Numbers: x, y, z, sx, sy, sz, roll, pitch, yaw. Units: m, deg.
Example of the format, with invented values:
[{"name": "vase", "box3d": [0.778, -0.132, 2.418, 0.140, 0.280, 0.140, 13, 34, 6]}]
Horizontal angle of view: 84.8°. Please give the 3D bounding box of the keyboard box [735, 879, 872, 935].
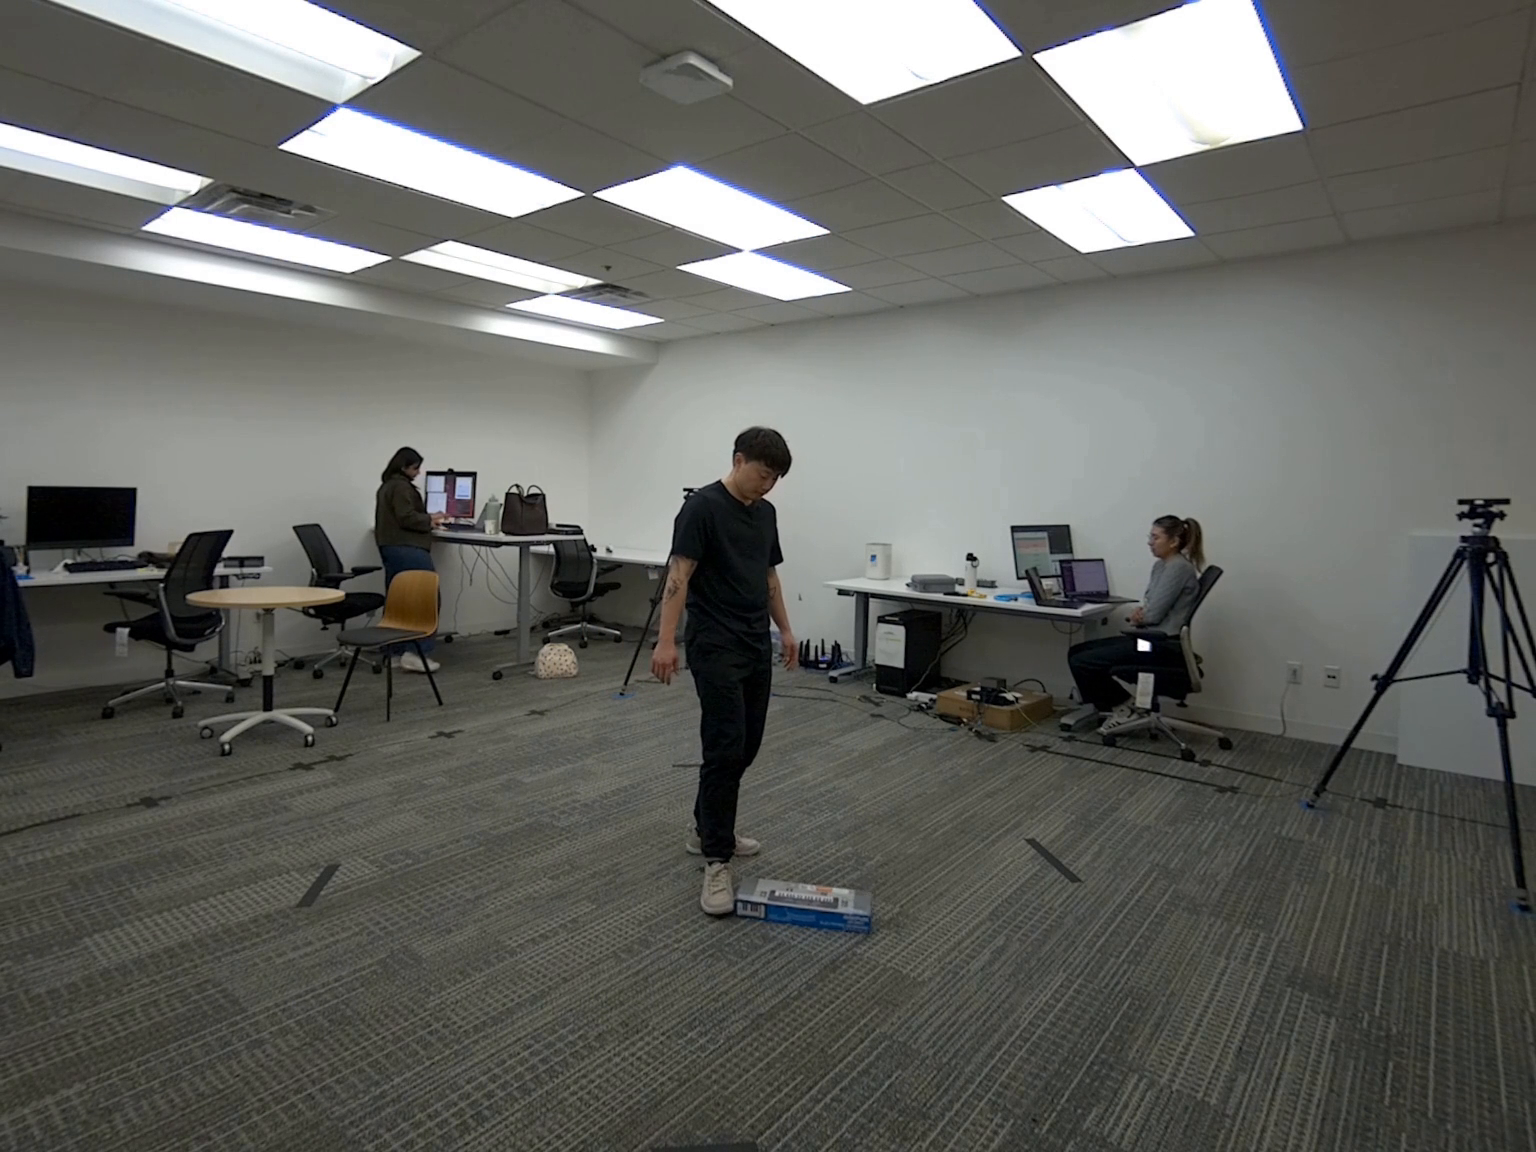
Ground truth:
[{"name": "keyboard box", "box3d": [0.114, 1.077, 2.803, 0.442, 0.059, 0.174, 3, 5, 11]}]
